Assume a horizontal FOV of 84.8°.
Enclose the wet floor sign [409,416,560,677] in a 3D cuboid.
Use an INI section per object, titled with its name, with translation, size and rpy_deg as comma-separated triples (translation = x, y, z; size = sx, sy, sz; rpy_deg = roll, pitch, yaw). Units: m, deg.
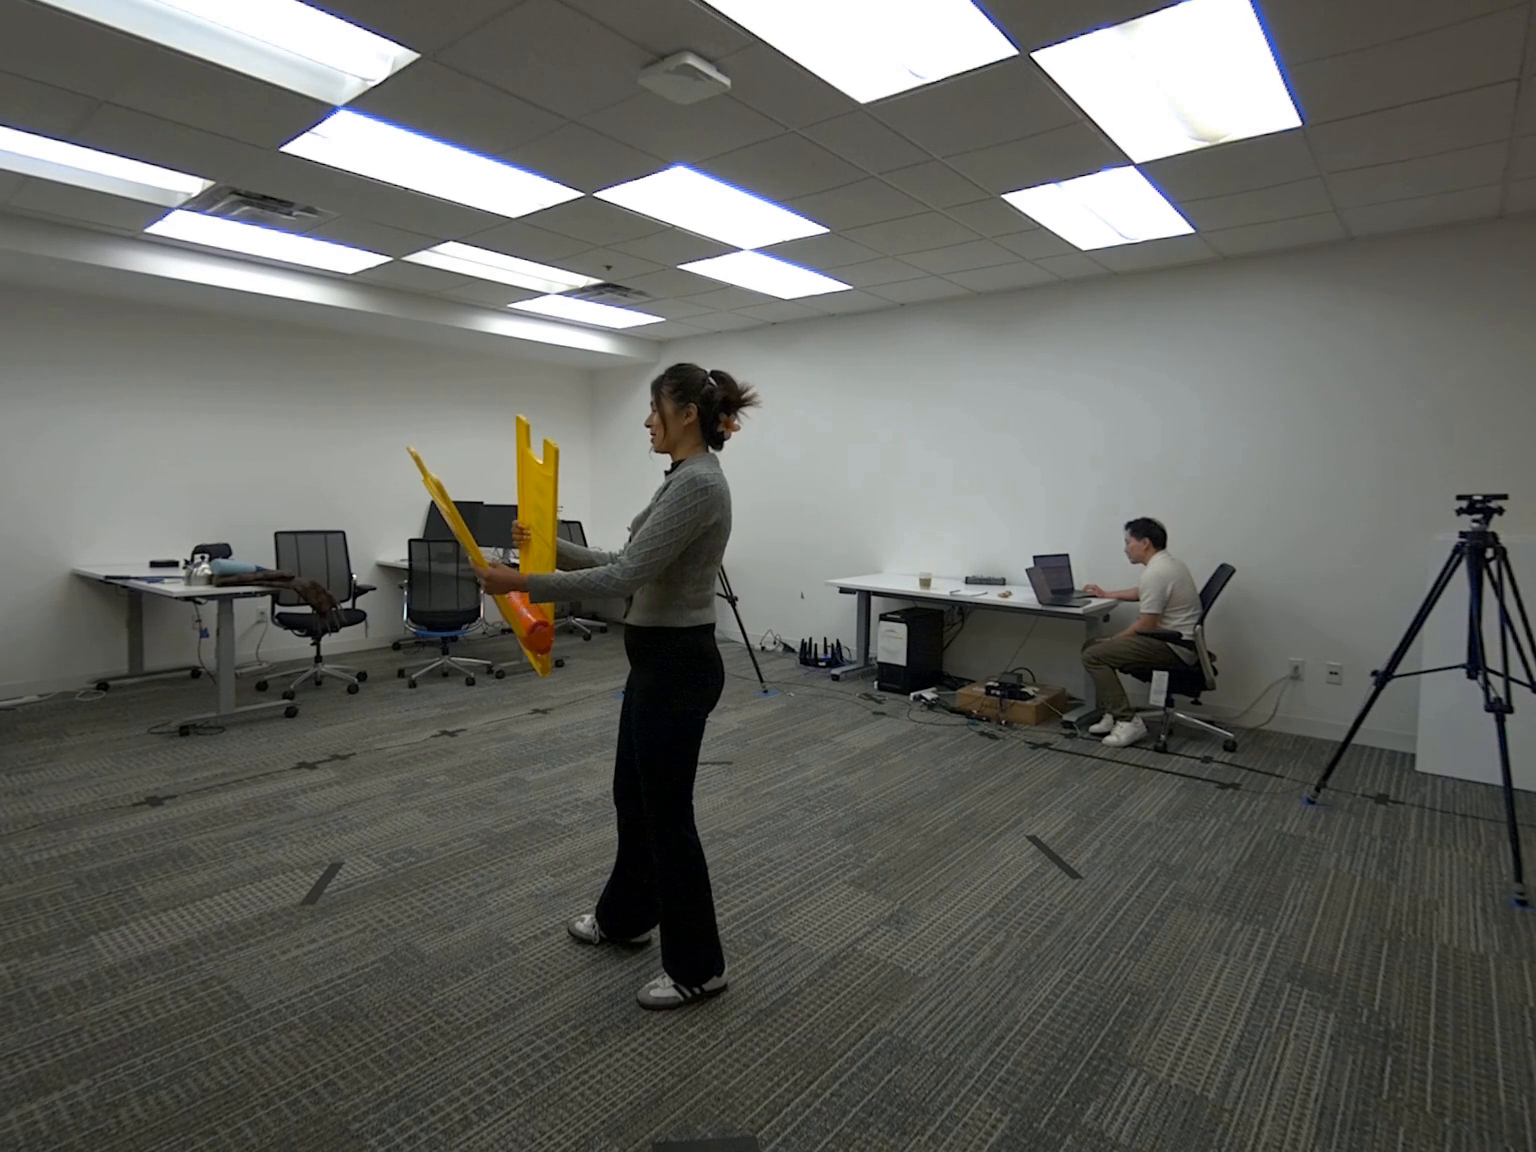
[wet floor sign]
translation = -0.670, -0.050, 2.190
size = 0.285, 0.628, 0.294
rpy_deg = -21, 35, -25
